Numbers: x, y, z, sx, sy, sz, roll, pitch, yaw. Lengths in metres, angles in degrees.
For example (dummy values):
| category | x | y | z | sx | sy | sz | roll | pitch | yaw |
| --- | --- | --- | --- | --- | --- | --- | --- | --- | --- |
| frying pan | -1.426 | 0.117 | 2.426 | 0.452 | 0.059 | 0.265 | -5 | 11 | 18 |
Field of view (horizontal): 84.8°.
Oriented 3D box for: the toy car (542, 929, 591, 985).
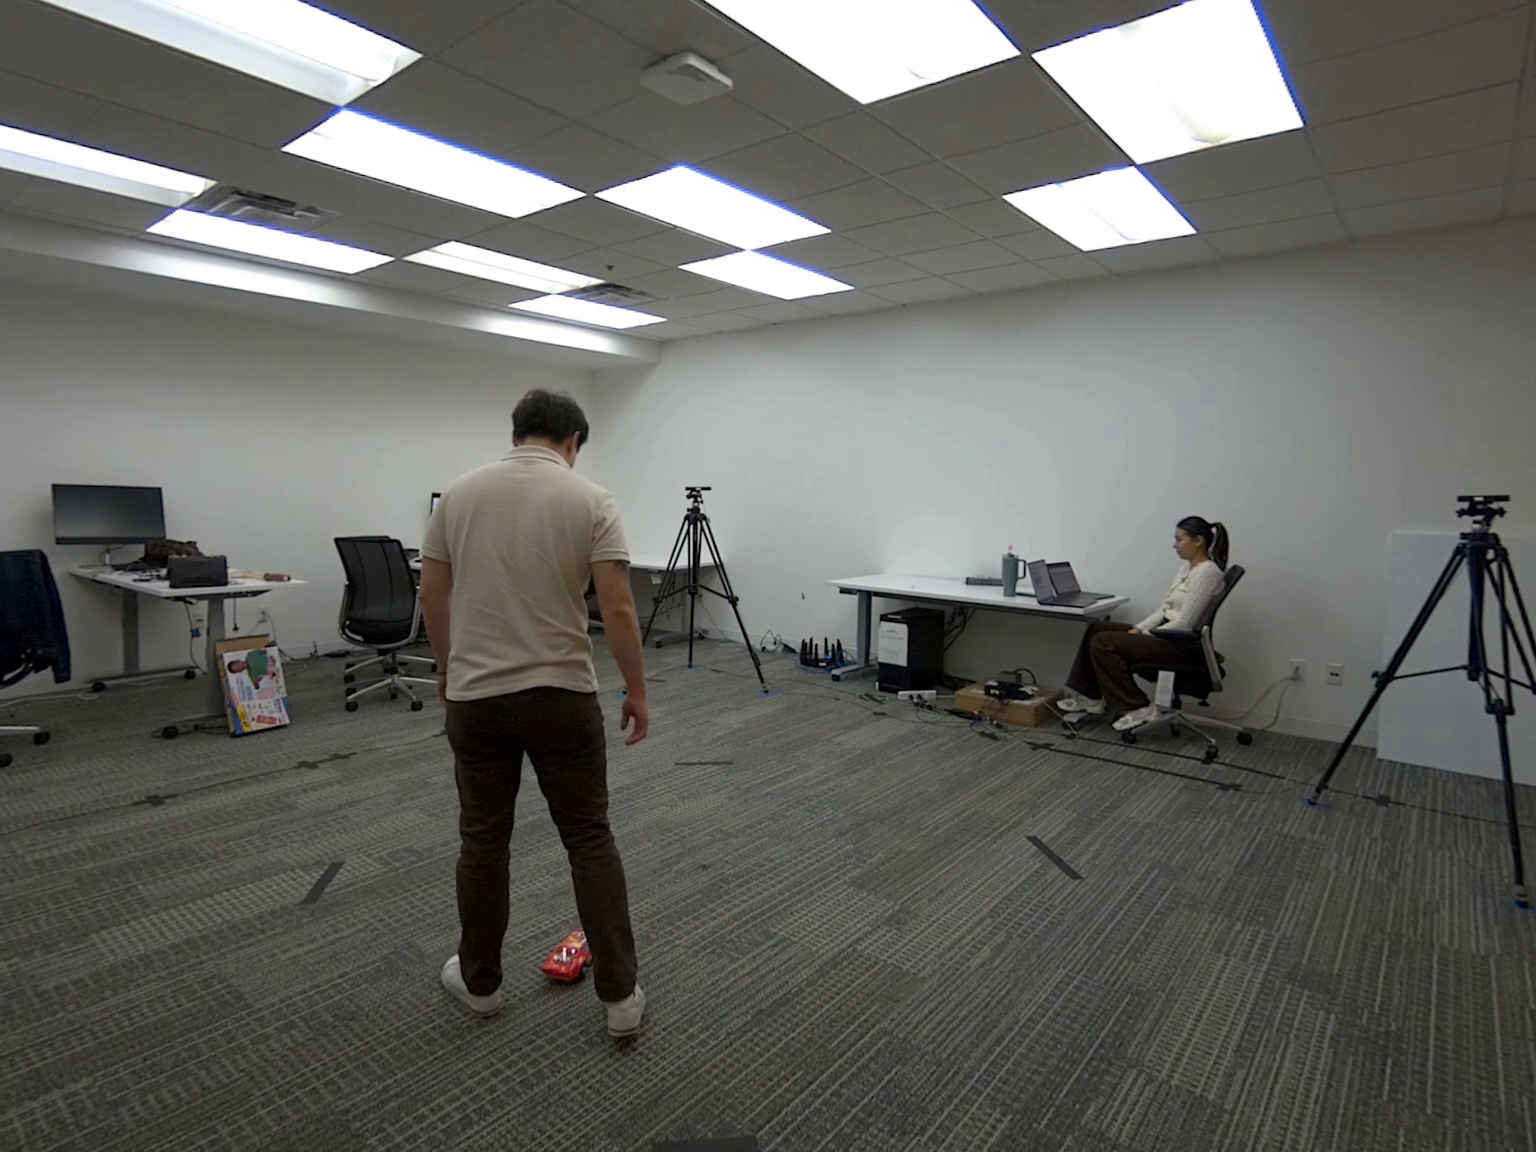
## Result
| category | x | y | z | sx | sy | sz | roll | pitch | yaw |
| --- | --- | --- | --- | --- | --- | --- | --- | --- | --- |
| toy car | -0.568 | 1.094 | 2.455 | 0.133 | 0.083 | 0.248 | 3 | -4 | 16 |
